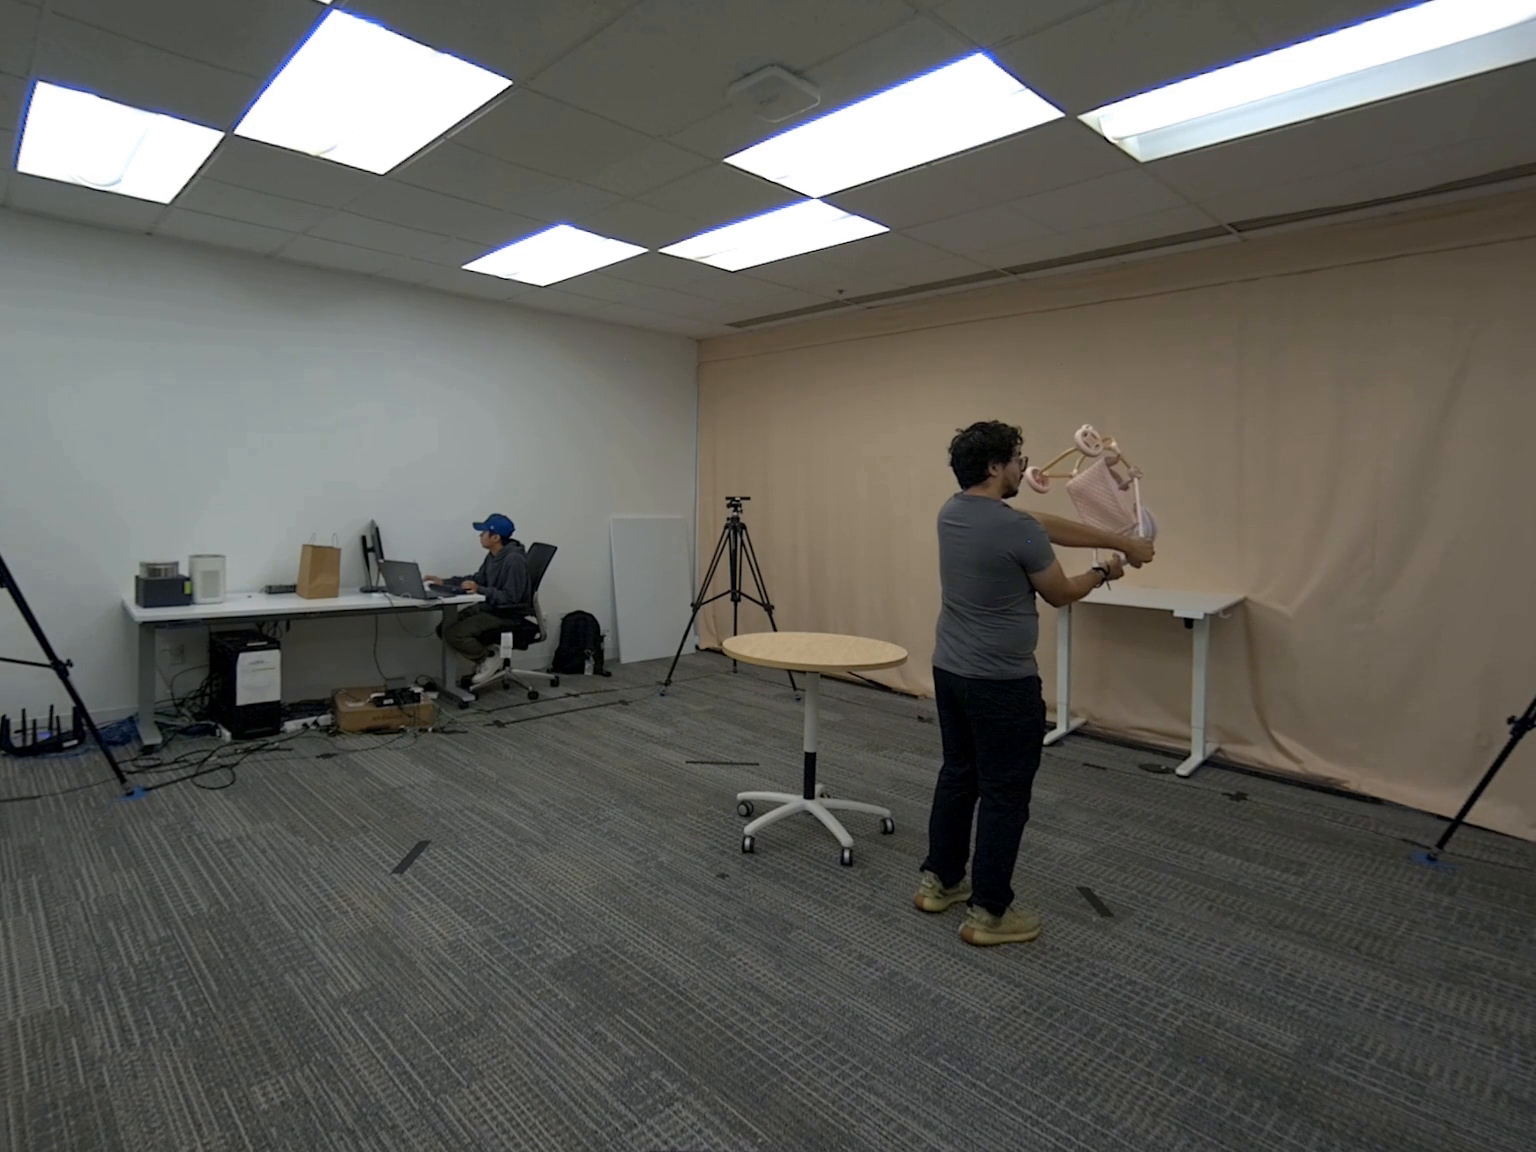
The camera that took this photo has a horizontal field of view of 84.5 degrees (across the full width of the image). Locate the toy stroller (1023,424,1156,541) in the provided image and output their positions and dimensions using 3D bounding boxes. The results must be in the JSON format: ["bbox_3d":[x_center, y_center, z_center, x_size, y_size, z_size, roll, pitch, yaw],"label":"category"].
[{"bbox_3d":[1.179,-0.289,2.972,0.335,0.544,0.281,-14,-20,-38],"label":"toy stroller"}]
